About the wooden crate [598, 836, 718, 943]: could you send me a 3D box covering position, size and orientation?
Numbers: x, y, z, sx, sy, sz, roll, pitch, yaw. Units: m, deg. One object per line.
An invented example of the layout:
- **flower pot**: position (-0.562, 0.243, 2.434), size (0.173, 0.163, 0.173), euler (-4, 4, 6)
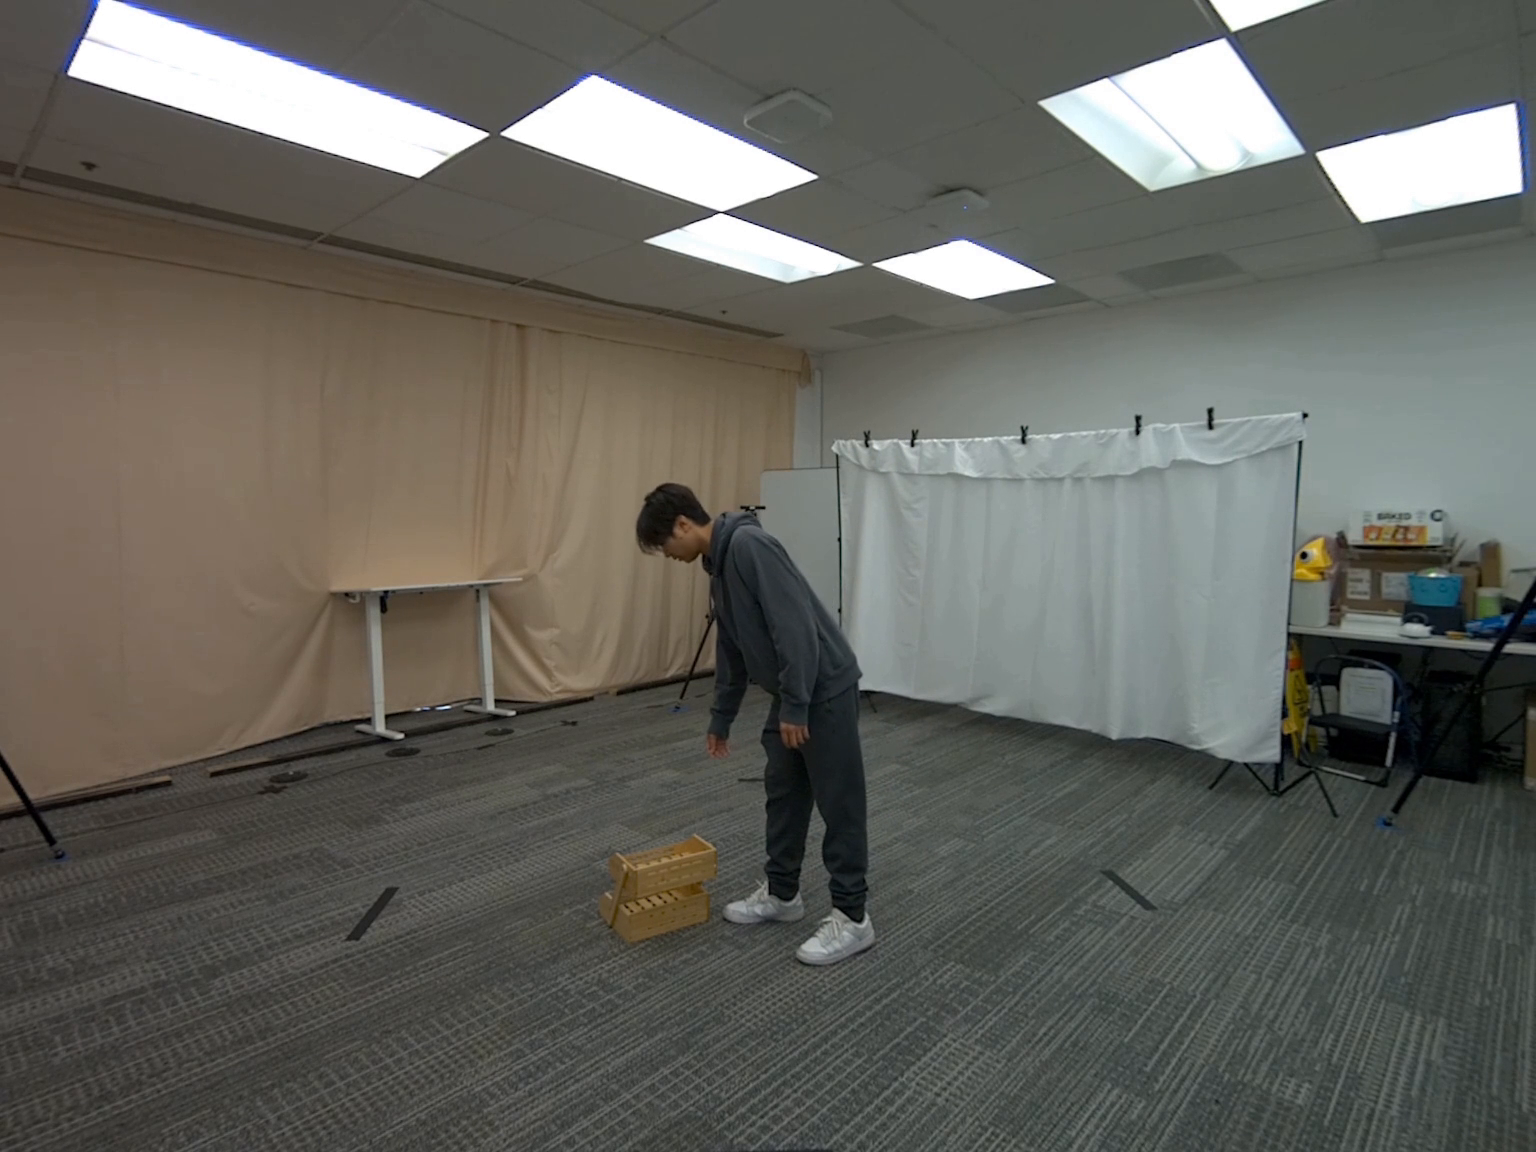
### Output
- **wooden crate**: position (-0.375, 1.028, 2.839), size (0.315, 0.272, 0.311), euler (-3, 5, -33)
